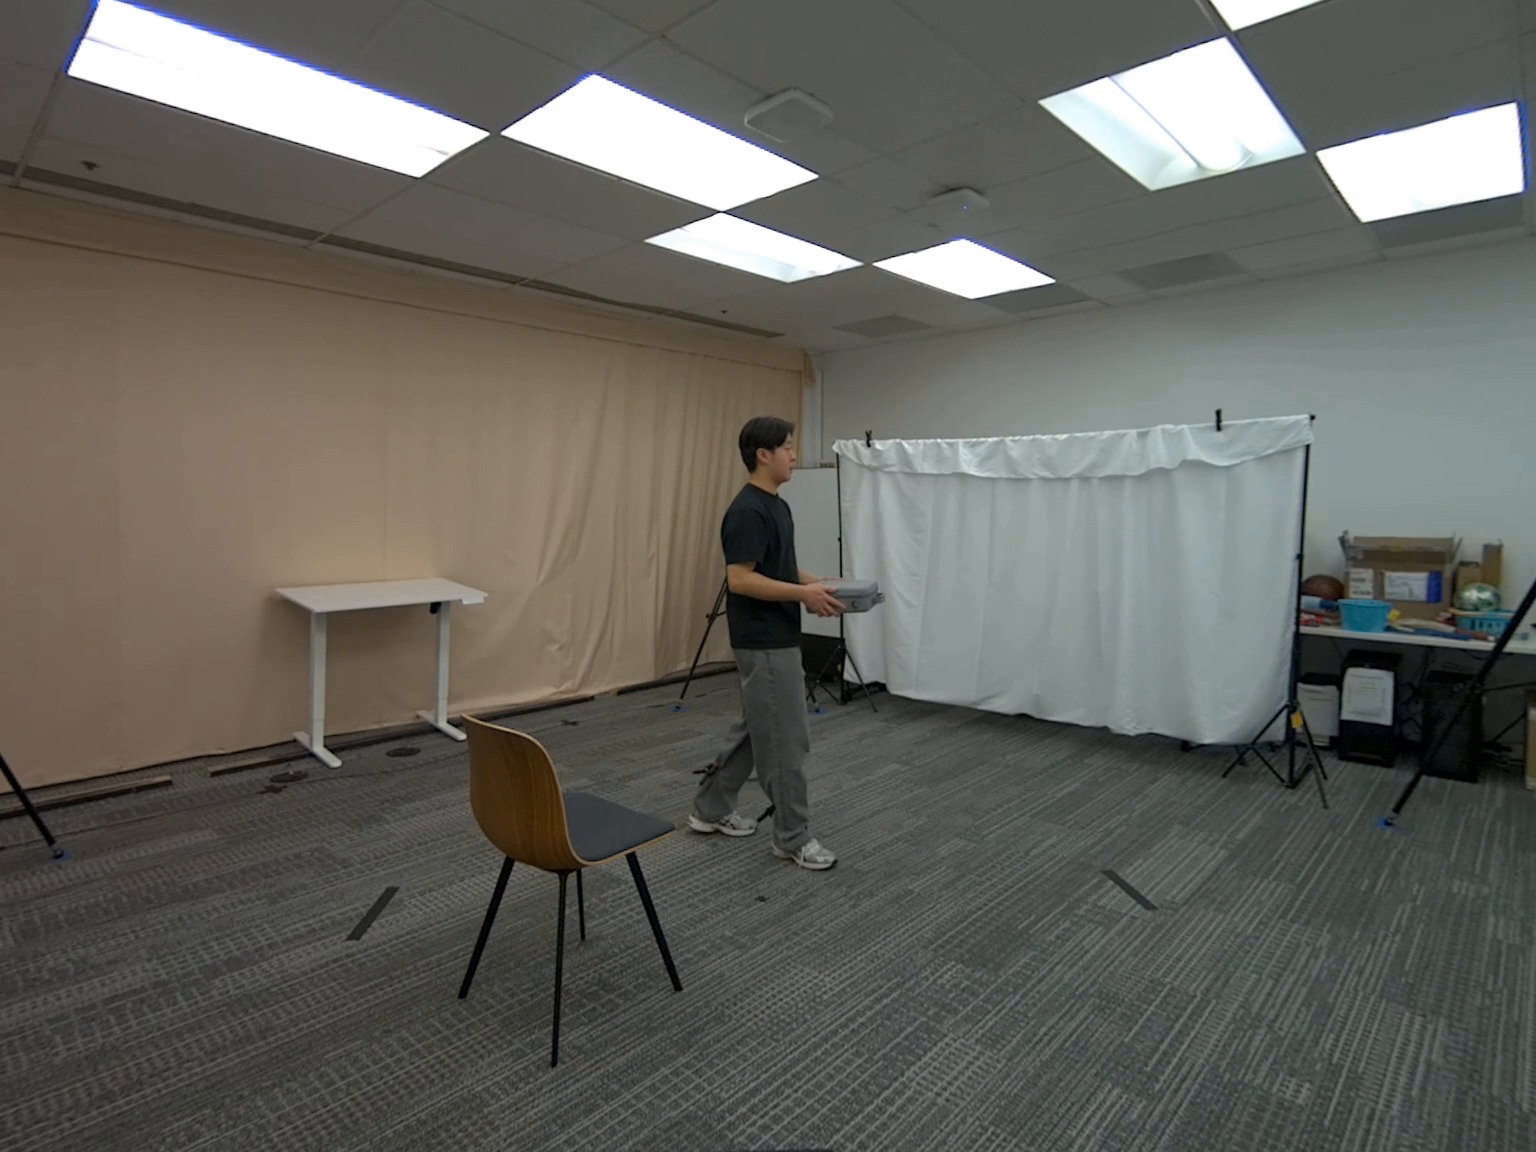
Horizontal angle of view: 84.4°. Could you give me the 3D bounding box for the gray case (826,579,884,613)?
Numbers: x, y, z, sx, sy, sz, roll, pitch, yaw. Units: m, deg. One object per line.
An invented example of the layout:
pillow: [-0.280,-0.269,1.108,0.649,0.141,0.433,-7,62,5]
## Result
gray case: [0.301,0.081,3.279,0.290,0.103,0.262,-2,6,7]
